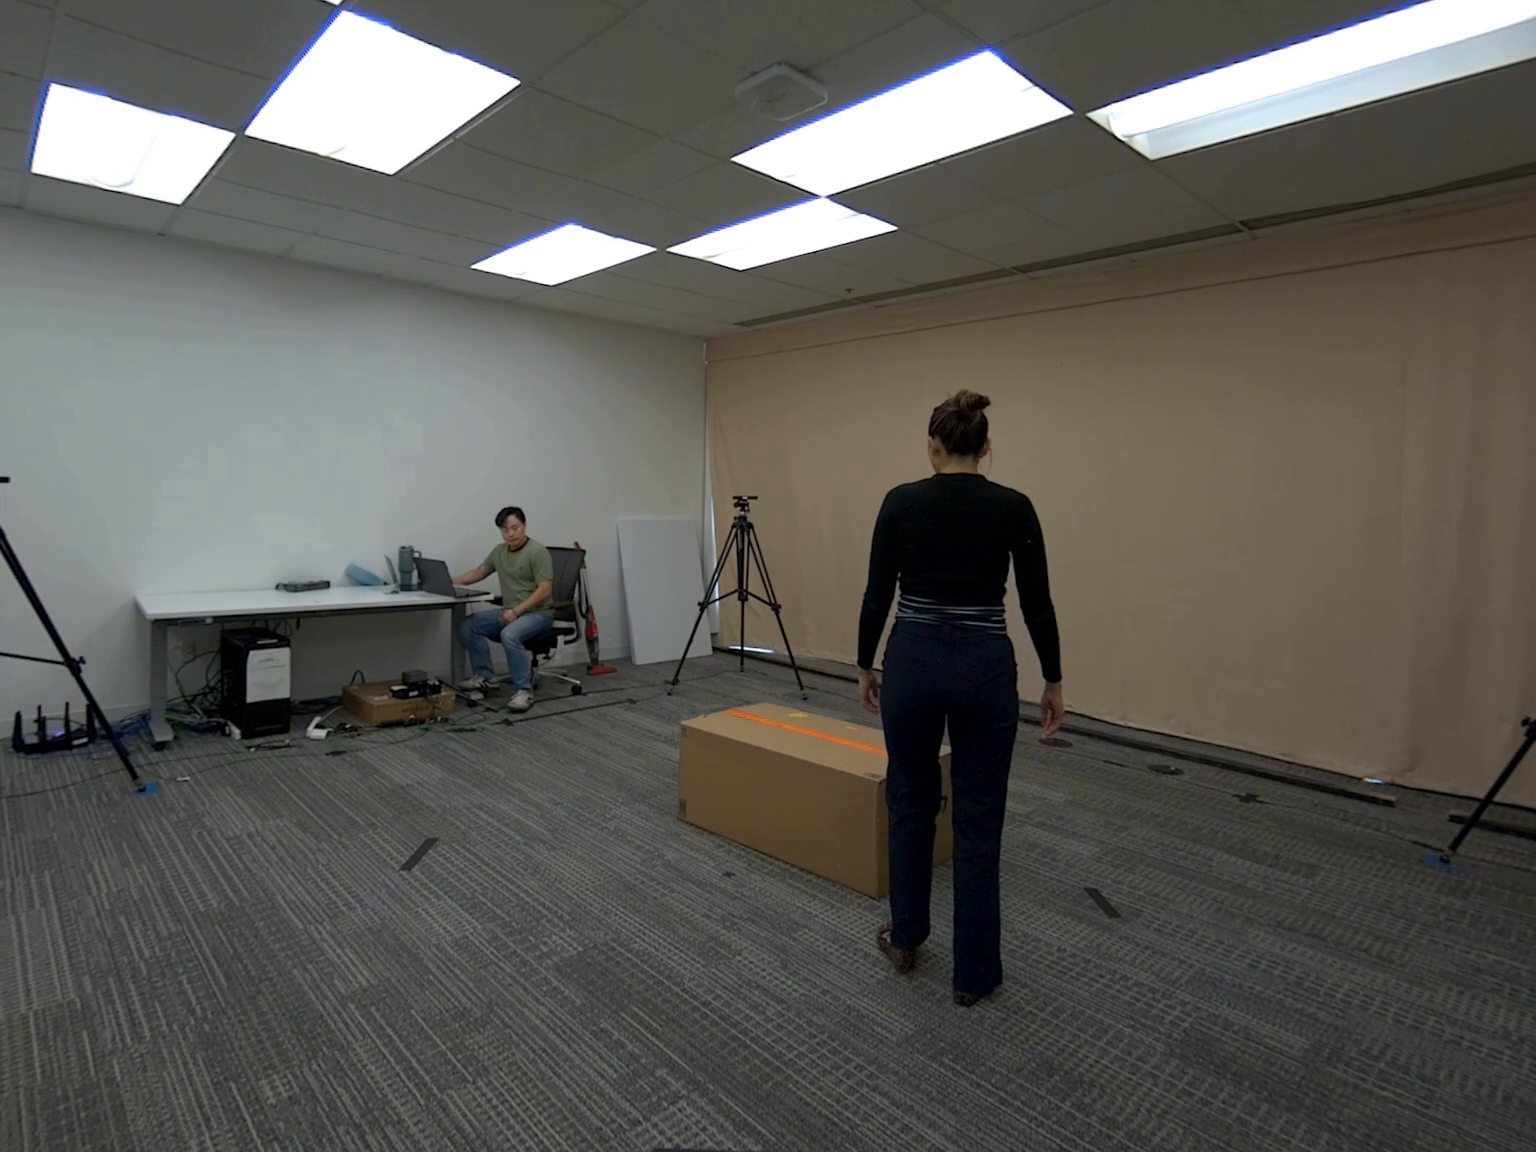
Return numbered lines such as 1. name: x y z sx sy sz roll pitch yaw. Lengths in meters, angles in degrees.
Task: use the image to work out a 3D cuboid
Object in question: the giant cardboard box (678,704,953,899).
1. giant cardboard box: 0.179 0.865 3.476 1.052 0.425 0.564 6 5 42
